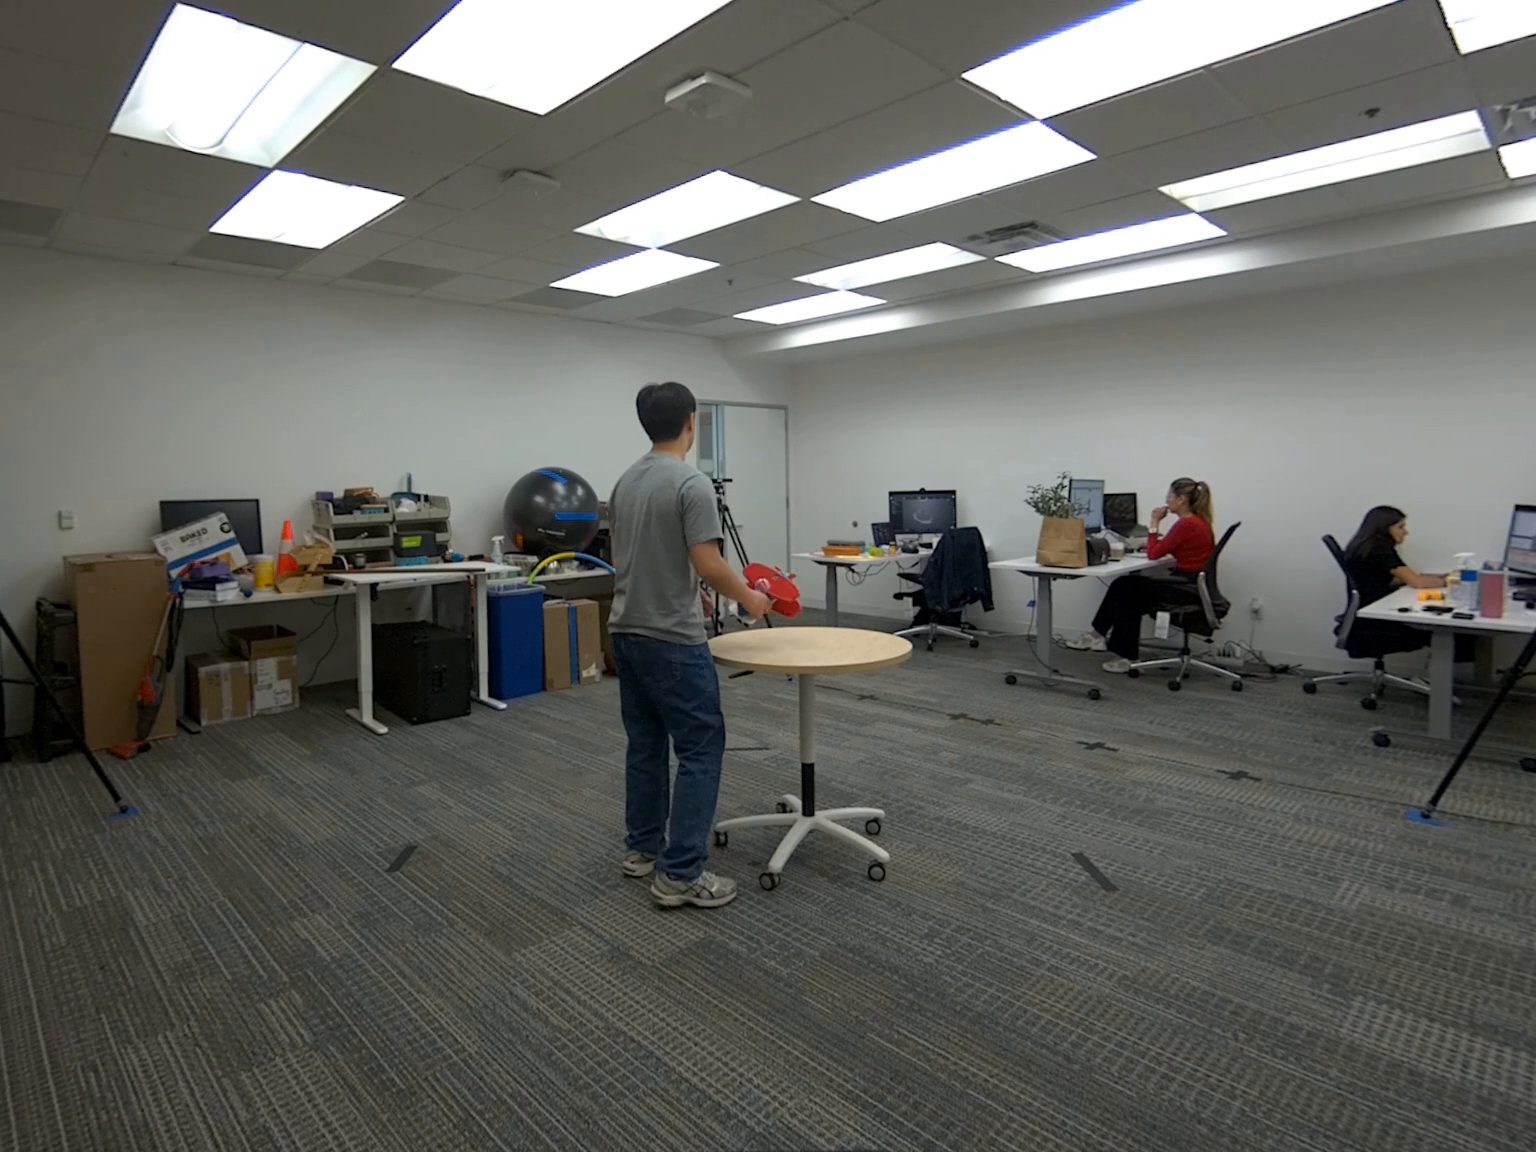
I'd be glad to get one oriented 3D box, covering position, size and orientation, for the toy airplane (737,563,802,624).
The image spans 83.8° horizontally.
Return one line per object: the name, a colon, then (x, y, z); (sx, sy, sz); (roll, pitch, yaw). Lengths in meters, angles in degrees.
toy airplane: (0.003, 0.075, 3.097); (0.256, 0.153, 0.260); (12, 33, 15)
